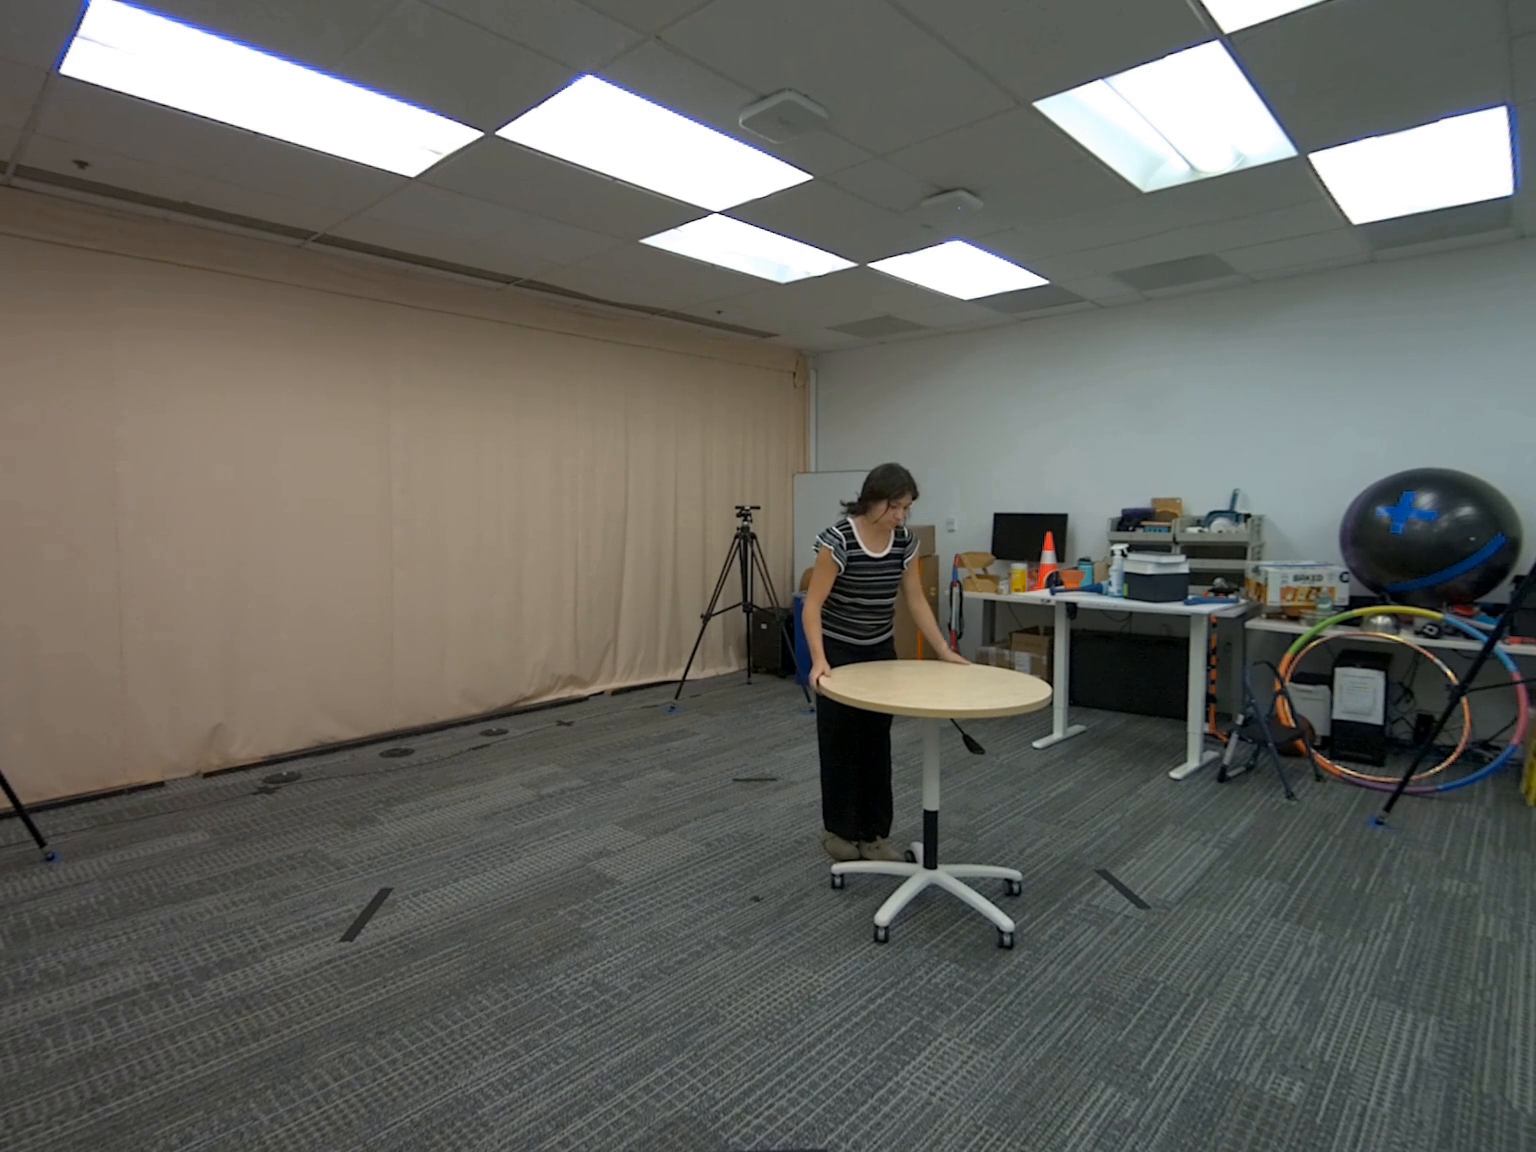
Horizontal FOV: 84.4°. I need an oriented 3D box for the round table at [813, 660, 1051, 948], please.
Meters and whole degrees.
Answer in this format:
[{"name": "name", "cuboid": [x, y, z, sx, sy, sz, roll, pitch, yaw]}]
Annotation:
[{"name": "round table", "cuboid": [0.562, 0.756, 2.907, 0.763, 0.792, 0.767, 0, 4, -2]}]
